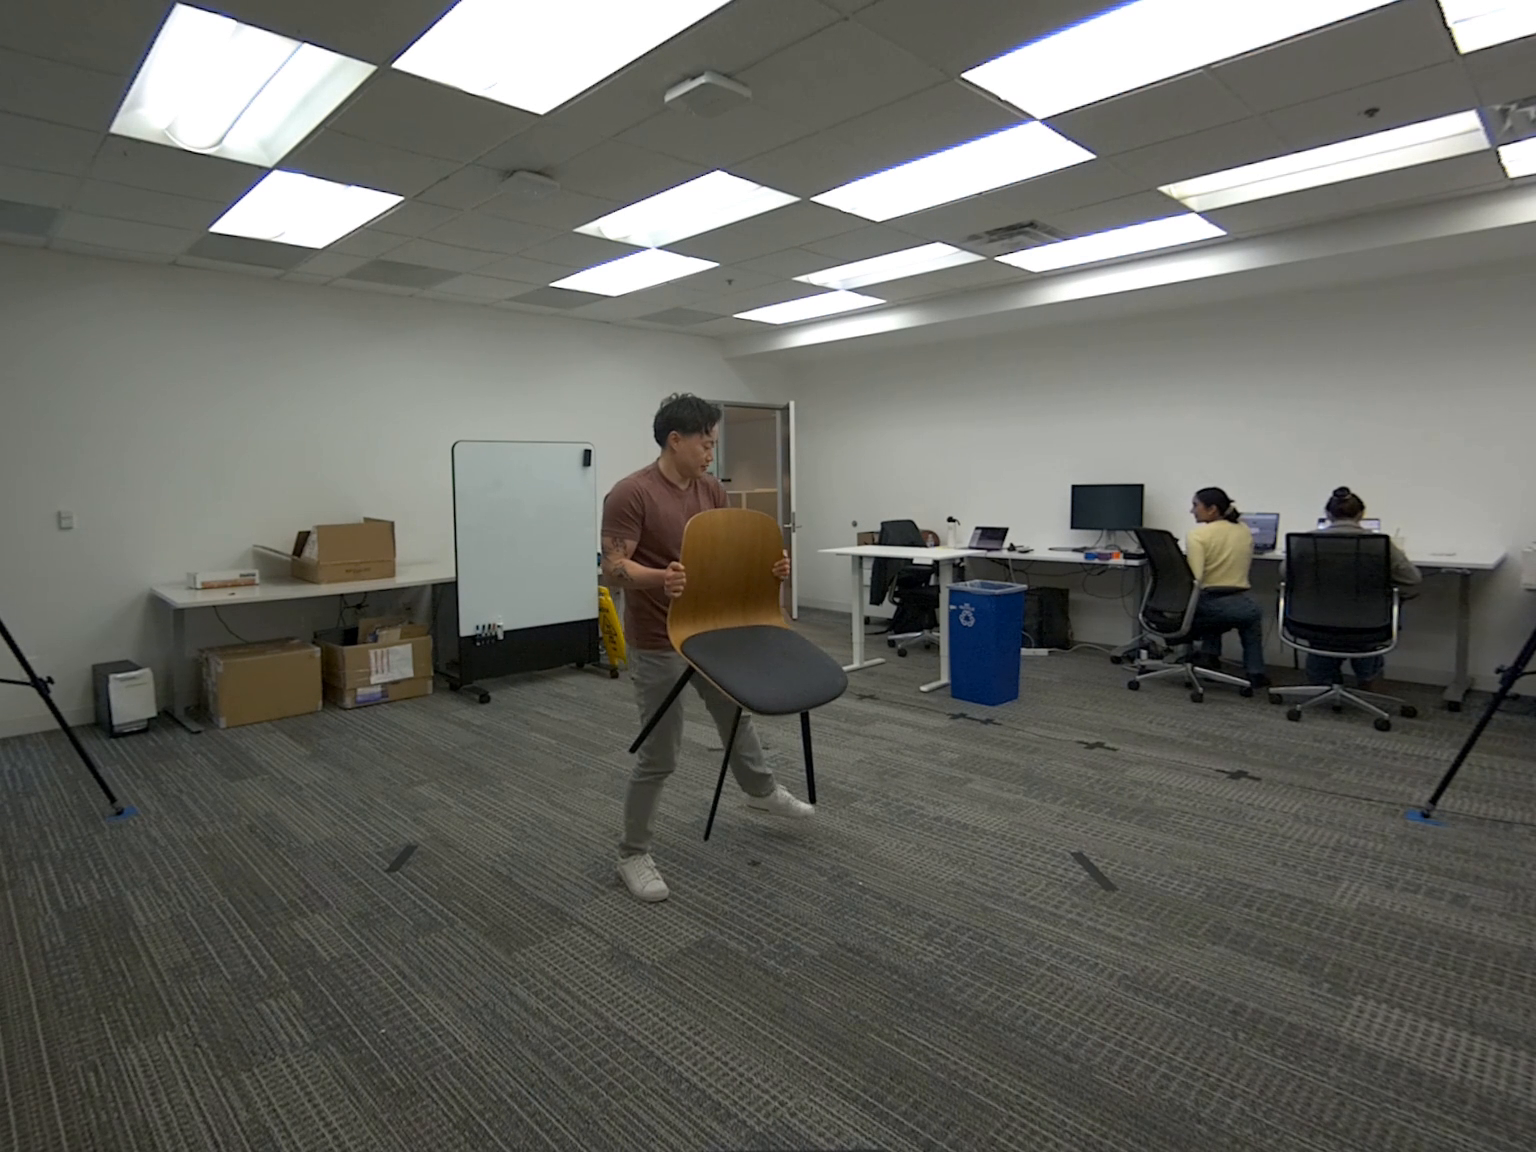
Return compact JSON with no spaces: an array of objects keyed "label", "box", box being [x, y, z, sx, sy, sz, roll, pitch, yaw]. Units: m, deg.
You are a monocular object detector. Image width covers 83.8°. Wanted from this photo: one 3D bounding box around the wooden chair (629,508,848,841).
[{"label":"wooden chair","box":[-0.045,0.290,2.665,0.465,0.867,0.543,-4,23,-40]}]
